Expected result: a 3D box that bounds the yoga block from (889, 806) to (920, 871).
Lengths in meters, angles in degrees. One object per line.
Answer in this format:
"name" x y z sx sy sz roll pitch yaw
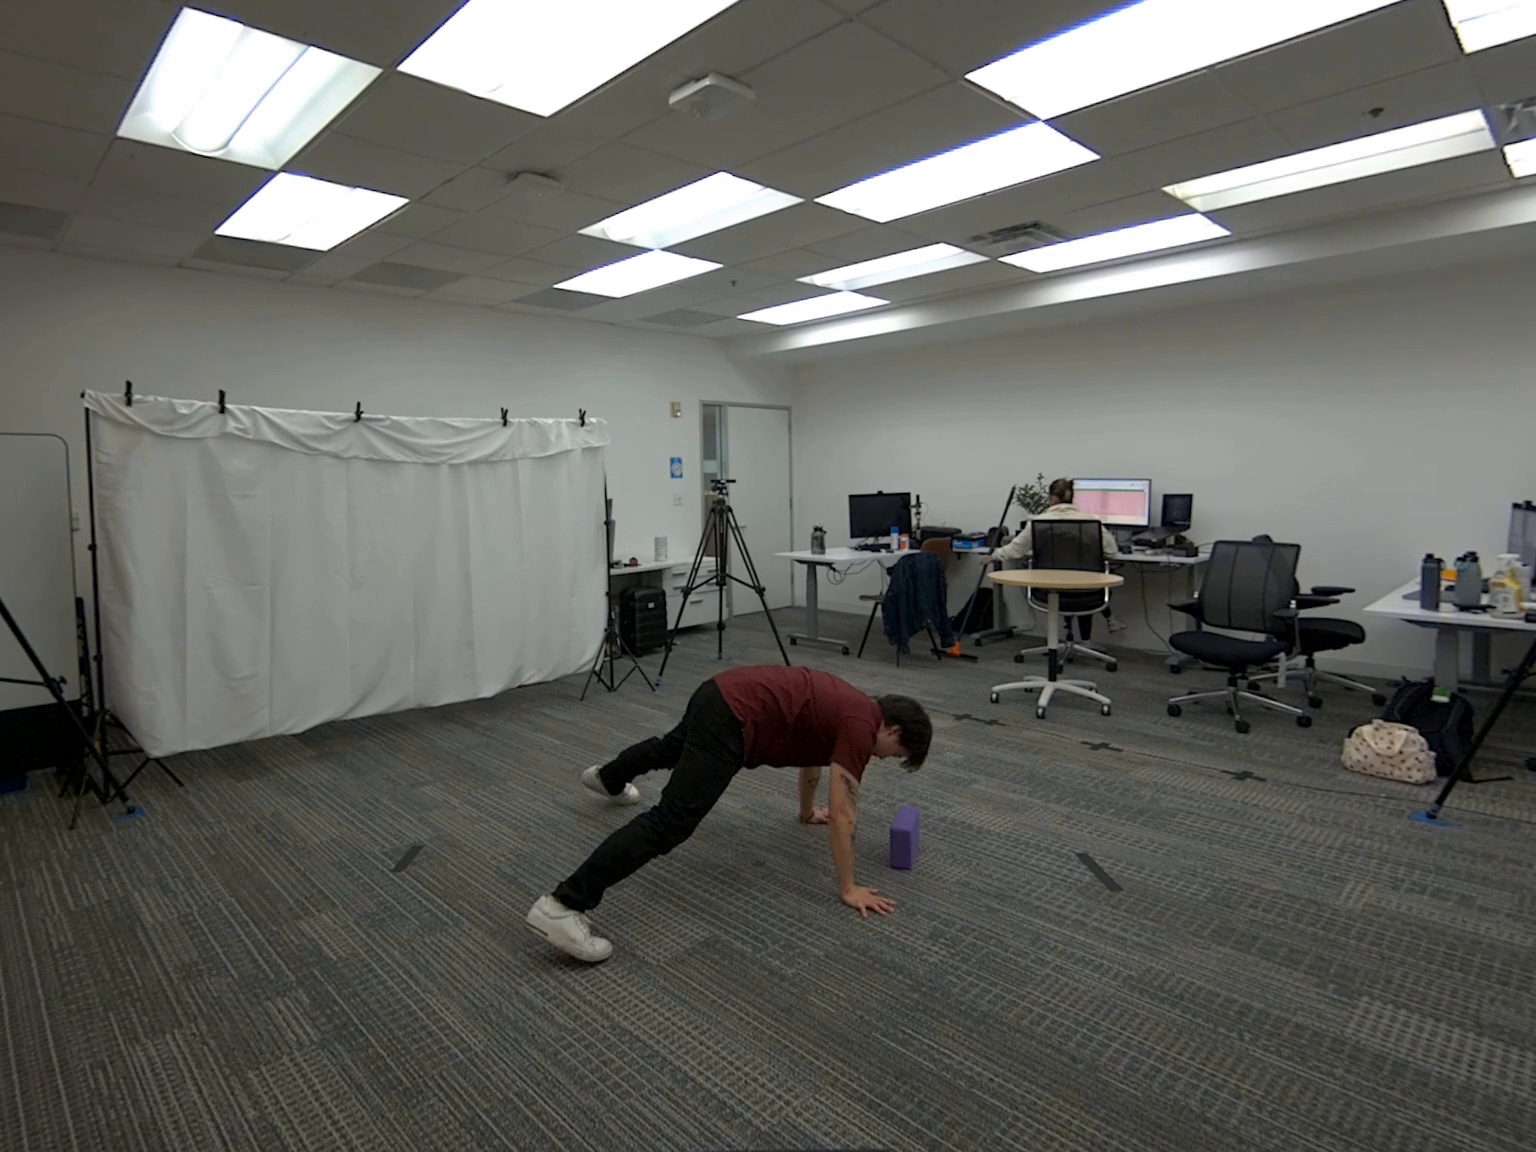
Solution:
"yoga block" 0.501 0.953 3.139 0.078 0.148 0.226 3 7 16
